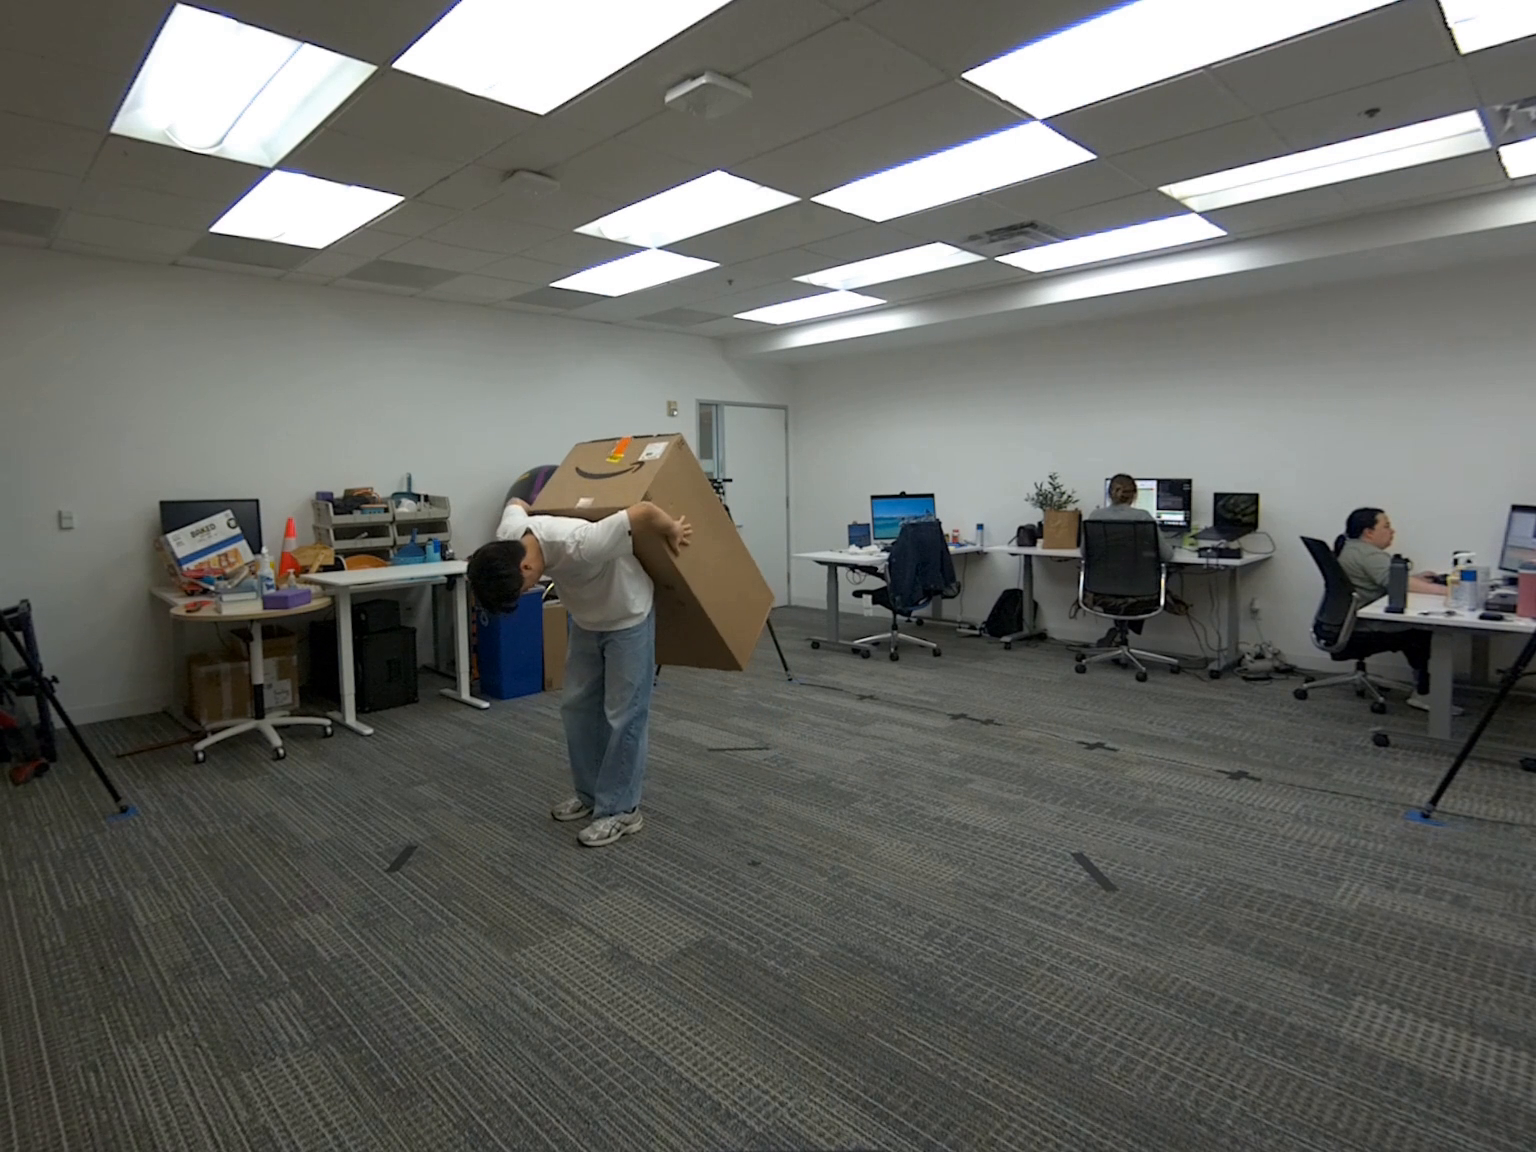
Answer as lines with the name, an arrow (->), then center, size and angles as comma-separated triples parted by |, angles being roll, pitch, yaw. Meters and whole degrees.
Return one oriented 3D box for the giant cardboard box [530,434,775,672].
giant cardboard box -> -0.466, -0.068, 3.753 | 0.593, 0.989, 0.430 | 0, 45, 32
